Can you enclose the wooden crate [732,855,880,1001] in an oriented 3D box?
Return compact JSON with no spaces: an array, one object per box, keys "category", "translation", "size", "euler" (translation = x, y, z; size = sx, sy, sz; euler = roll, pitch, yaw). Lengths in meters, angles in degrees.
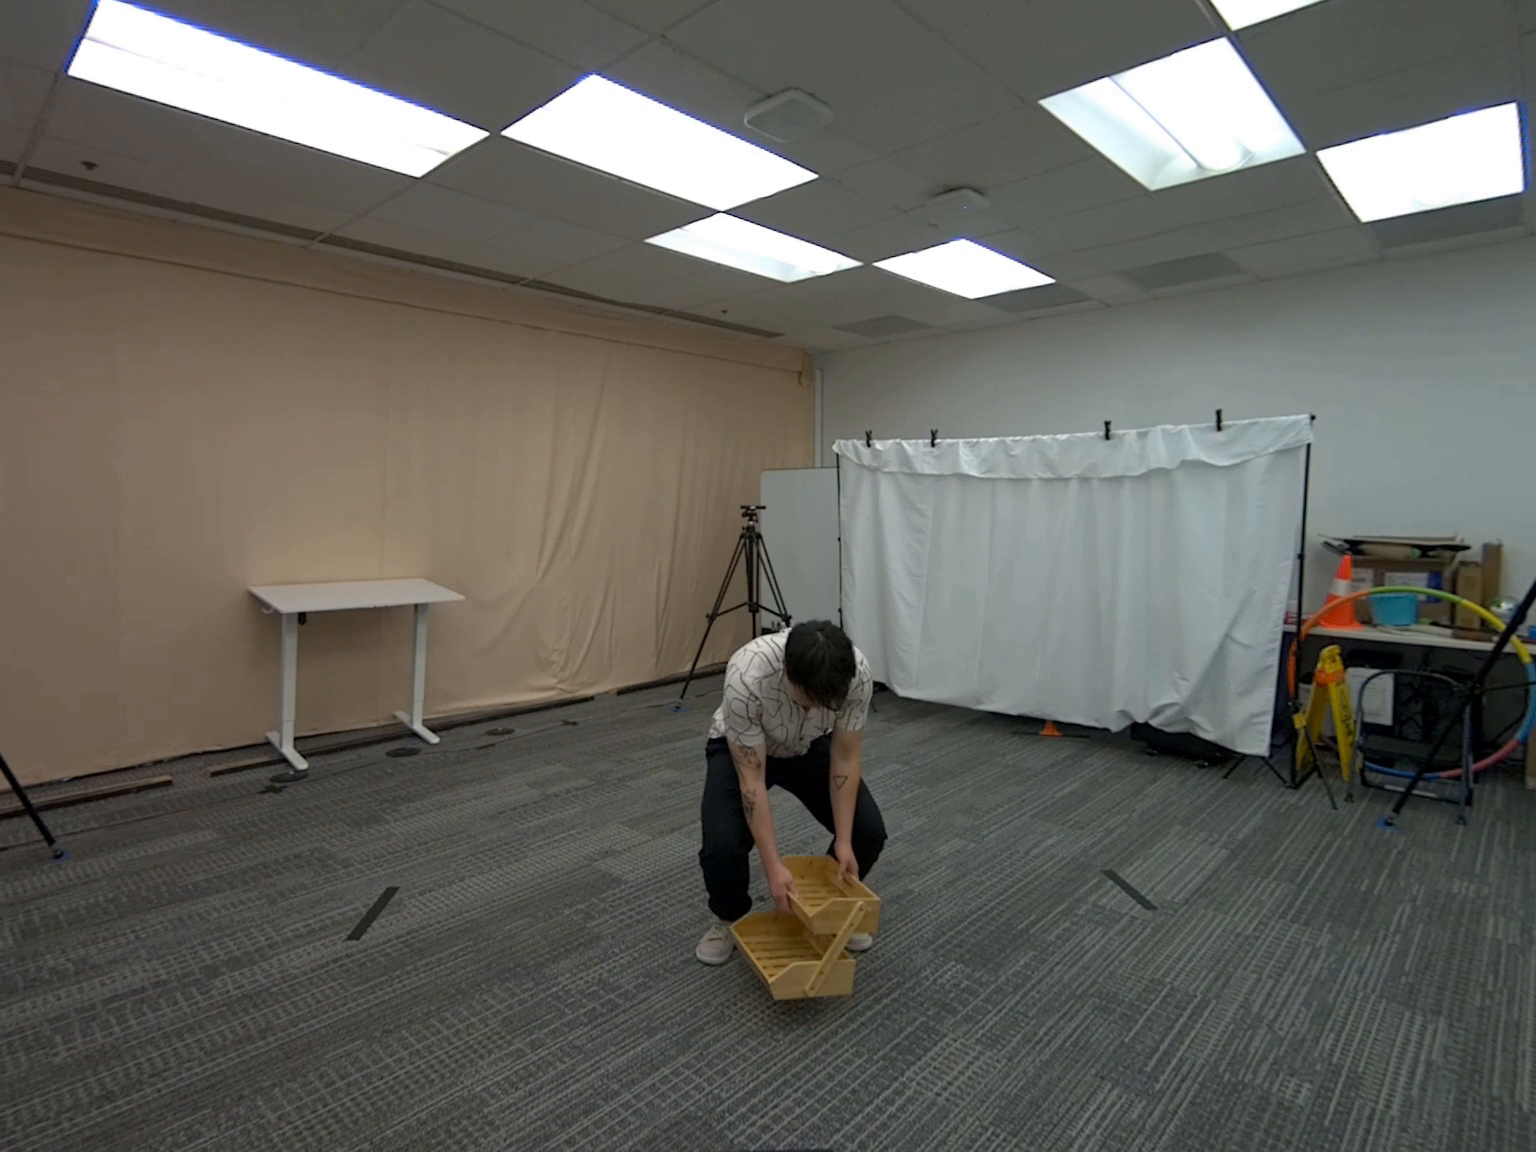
[{"category":"wooden crate","translation":[0.095,0.978,2.369],"size":[0.295,0.273,0.332],"euler":[6,4,-22]}]
